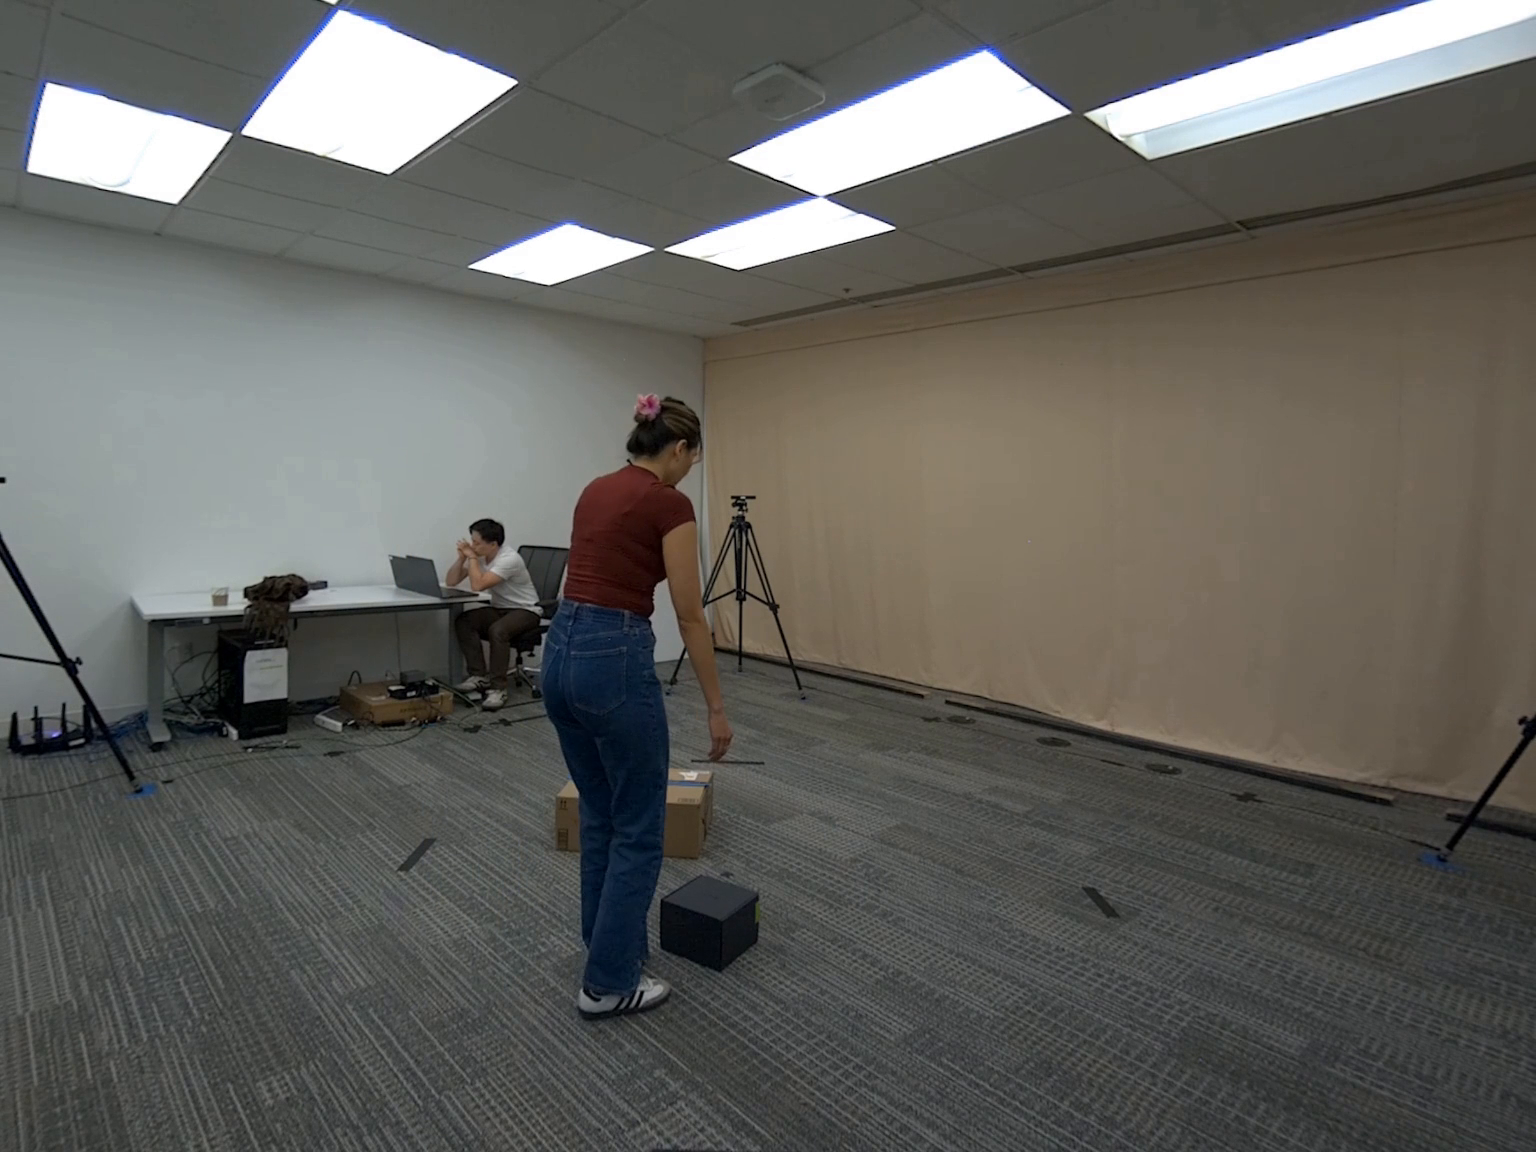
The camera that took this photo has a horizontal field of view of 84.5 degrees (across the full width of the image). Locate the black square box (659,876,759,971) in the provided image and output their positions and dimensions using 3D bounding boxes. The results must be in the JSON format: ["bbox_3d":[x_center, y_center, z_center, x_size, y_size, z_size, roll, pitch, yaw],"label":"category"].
[{"bbox_3d":[-0.183,1.063,2.603,0.233,0.155,0.213,4,5,32],"label":"black square box"}]
